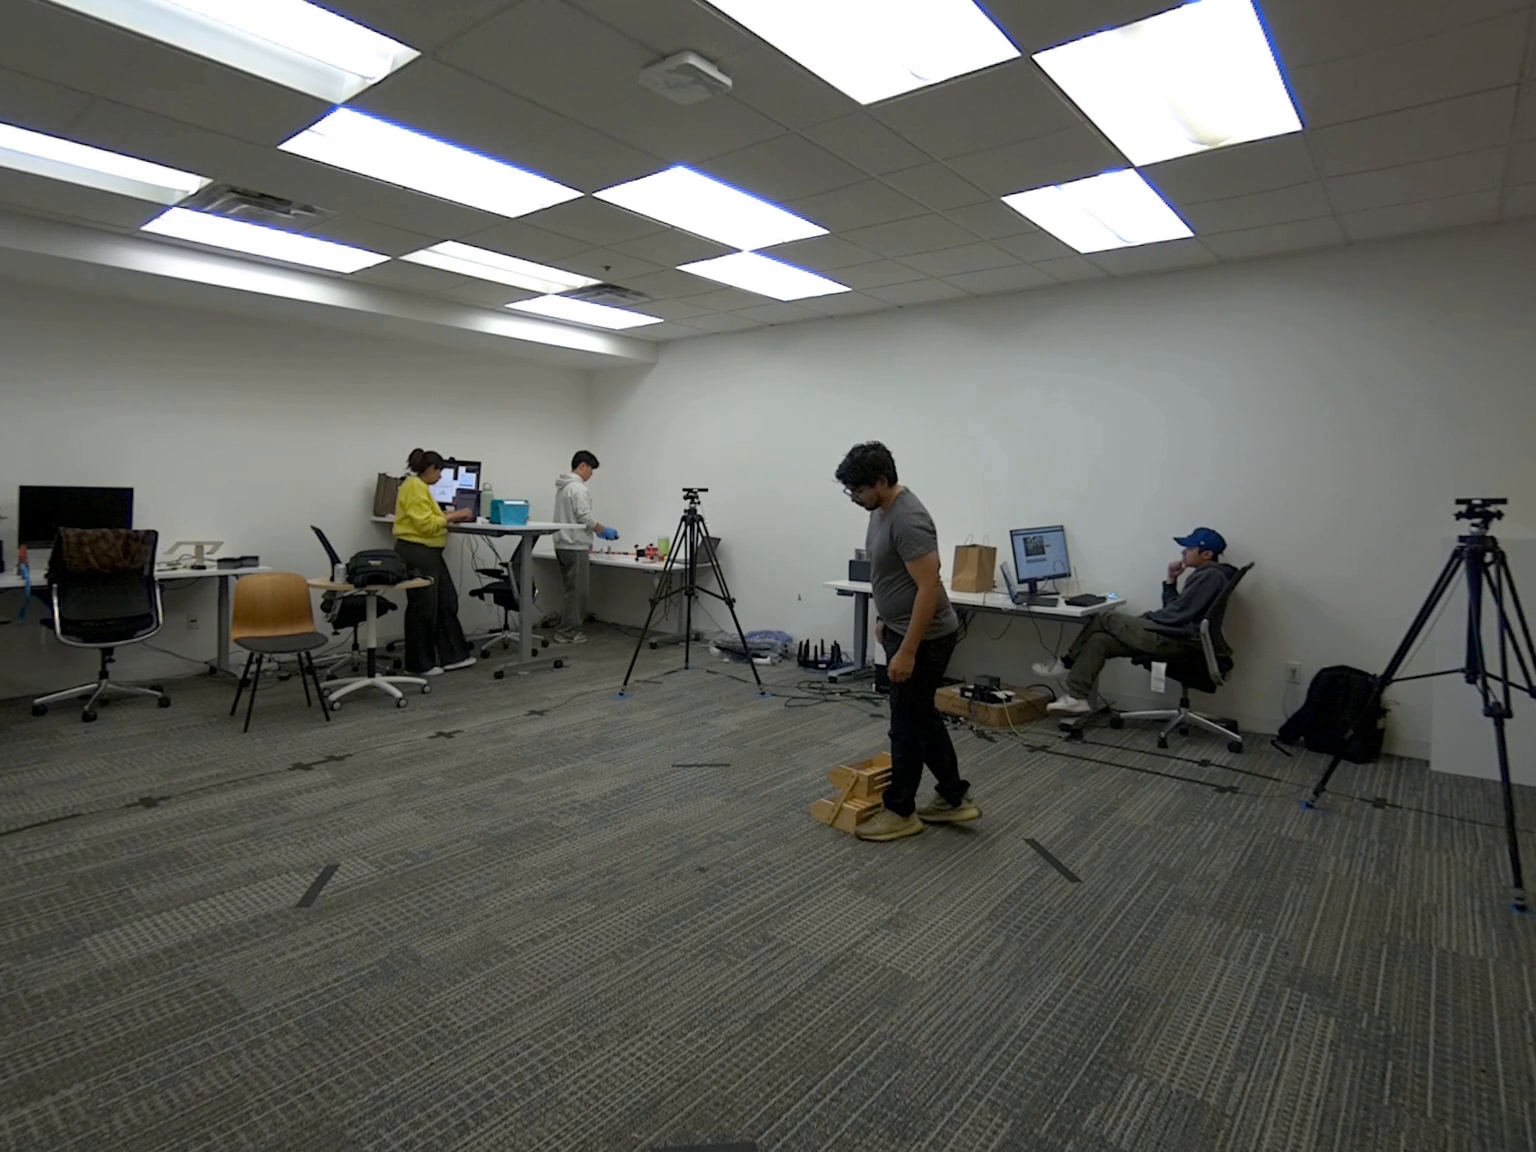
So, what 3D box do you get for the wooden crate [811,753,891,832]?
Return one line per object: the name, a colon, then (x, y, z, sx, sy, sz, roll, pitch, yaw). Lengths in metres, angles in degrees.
wooden crate: (0.381, 0.899, 3.638, 0.312, 0.272, 0.315, 6, 7, 44)
